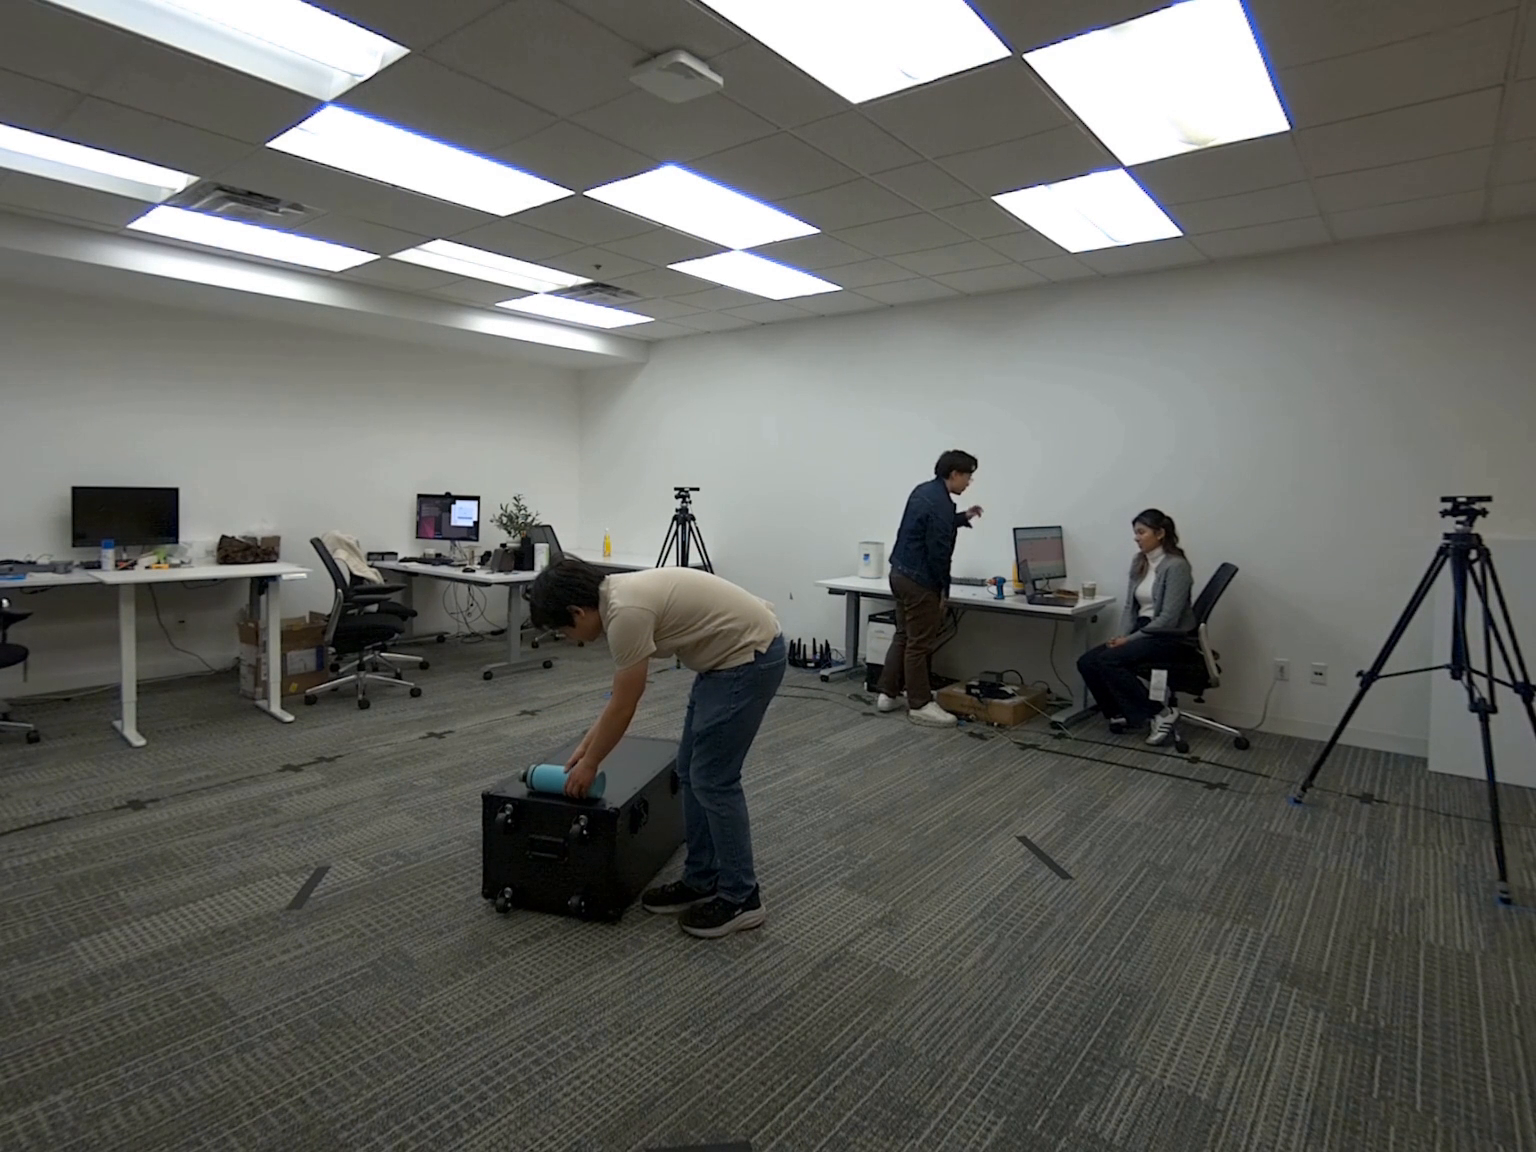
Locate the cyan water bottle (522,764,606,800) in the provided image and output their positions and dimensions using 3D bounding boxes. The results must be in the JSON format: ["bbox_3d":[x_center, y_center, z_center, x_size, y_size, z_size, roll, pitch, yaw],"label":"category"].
[{"bbox_3d":[-0.694,0.672,2.811,0.287,0.092,0.091,3,4,12],"label":"cyan water bottle"}]
